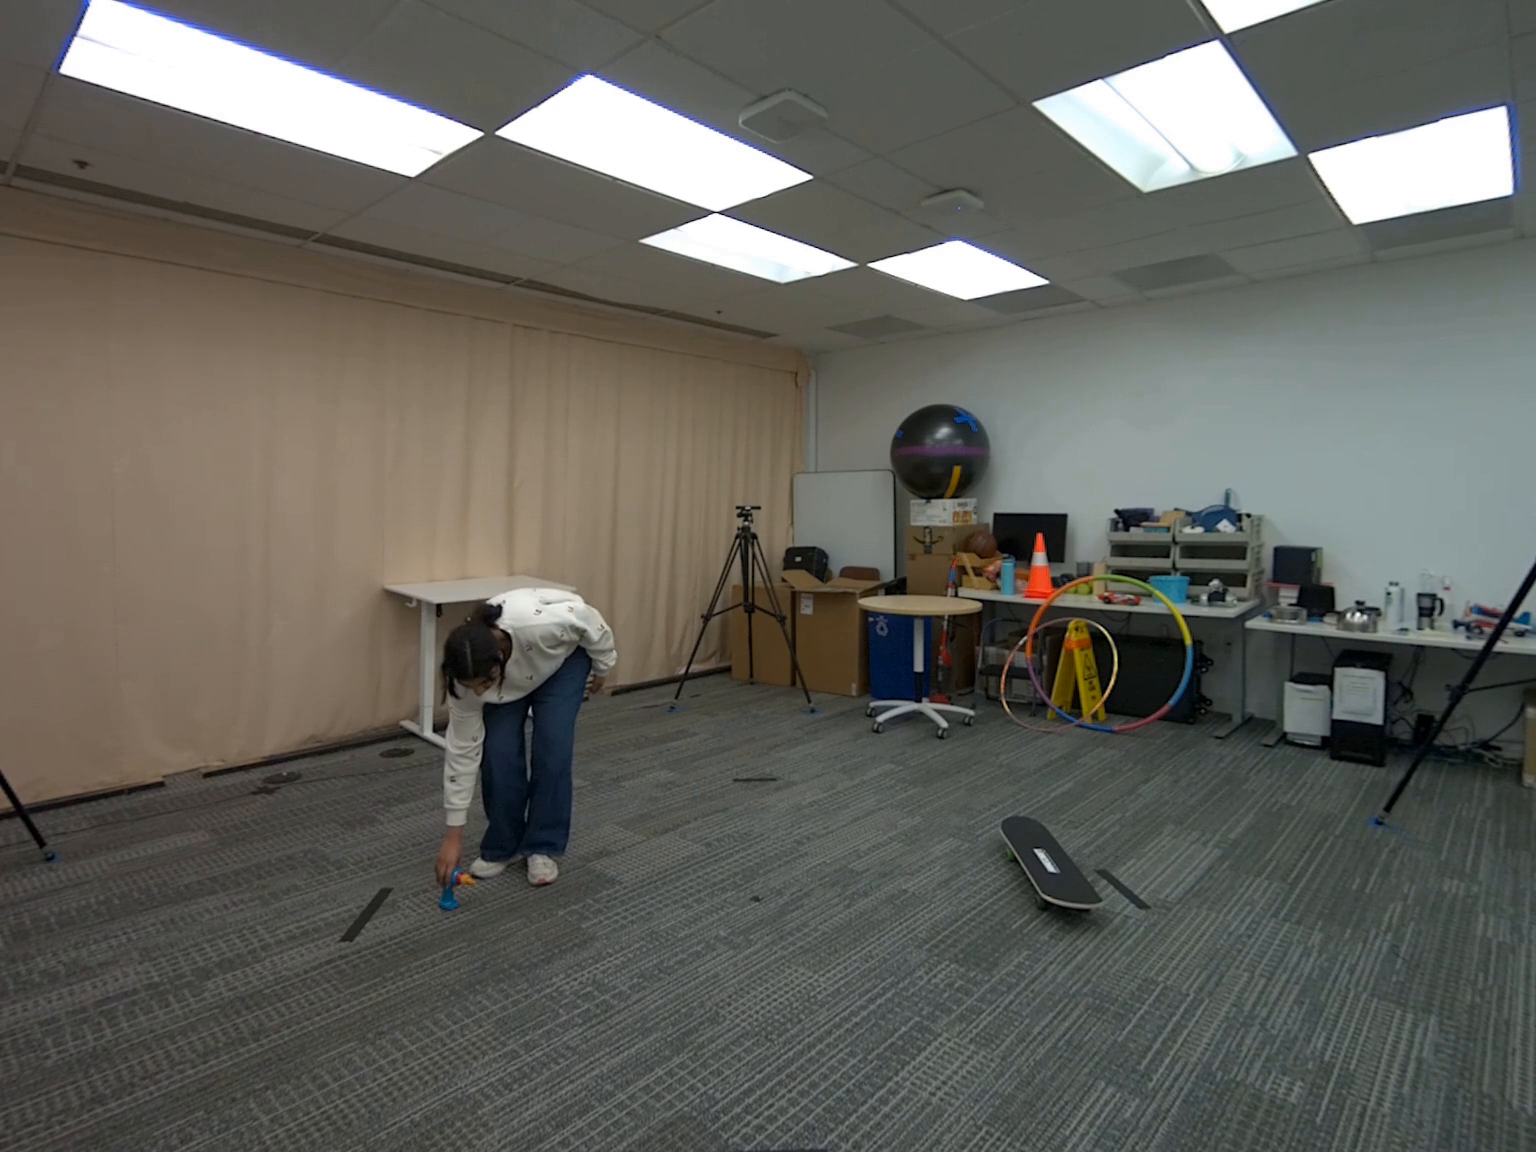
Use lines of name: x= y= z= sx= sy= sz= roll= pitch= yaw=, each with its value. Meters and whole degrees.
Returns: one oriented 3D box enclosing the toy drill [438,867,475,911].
toy drill: x=-1.079 y=1.077 z=2.927 sx=0.174 sy=0.146 sz=0.059 roll=3 pitch=1 yaw=28
